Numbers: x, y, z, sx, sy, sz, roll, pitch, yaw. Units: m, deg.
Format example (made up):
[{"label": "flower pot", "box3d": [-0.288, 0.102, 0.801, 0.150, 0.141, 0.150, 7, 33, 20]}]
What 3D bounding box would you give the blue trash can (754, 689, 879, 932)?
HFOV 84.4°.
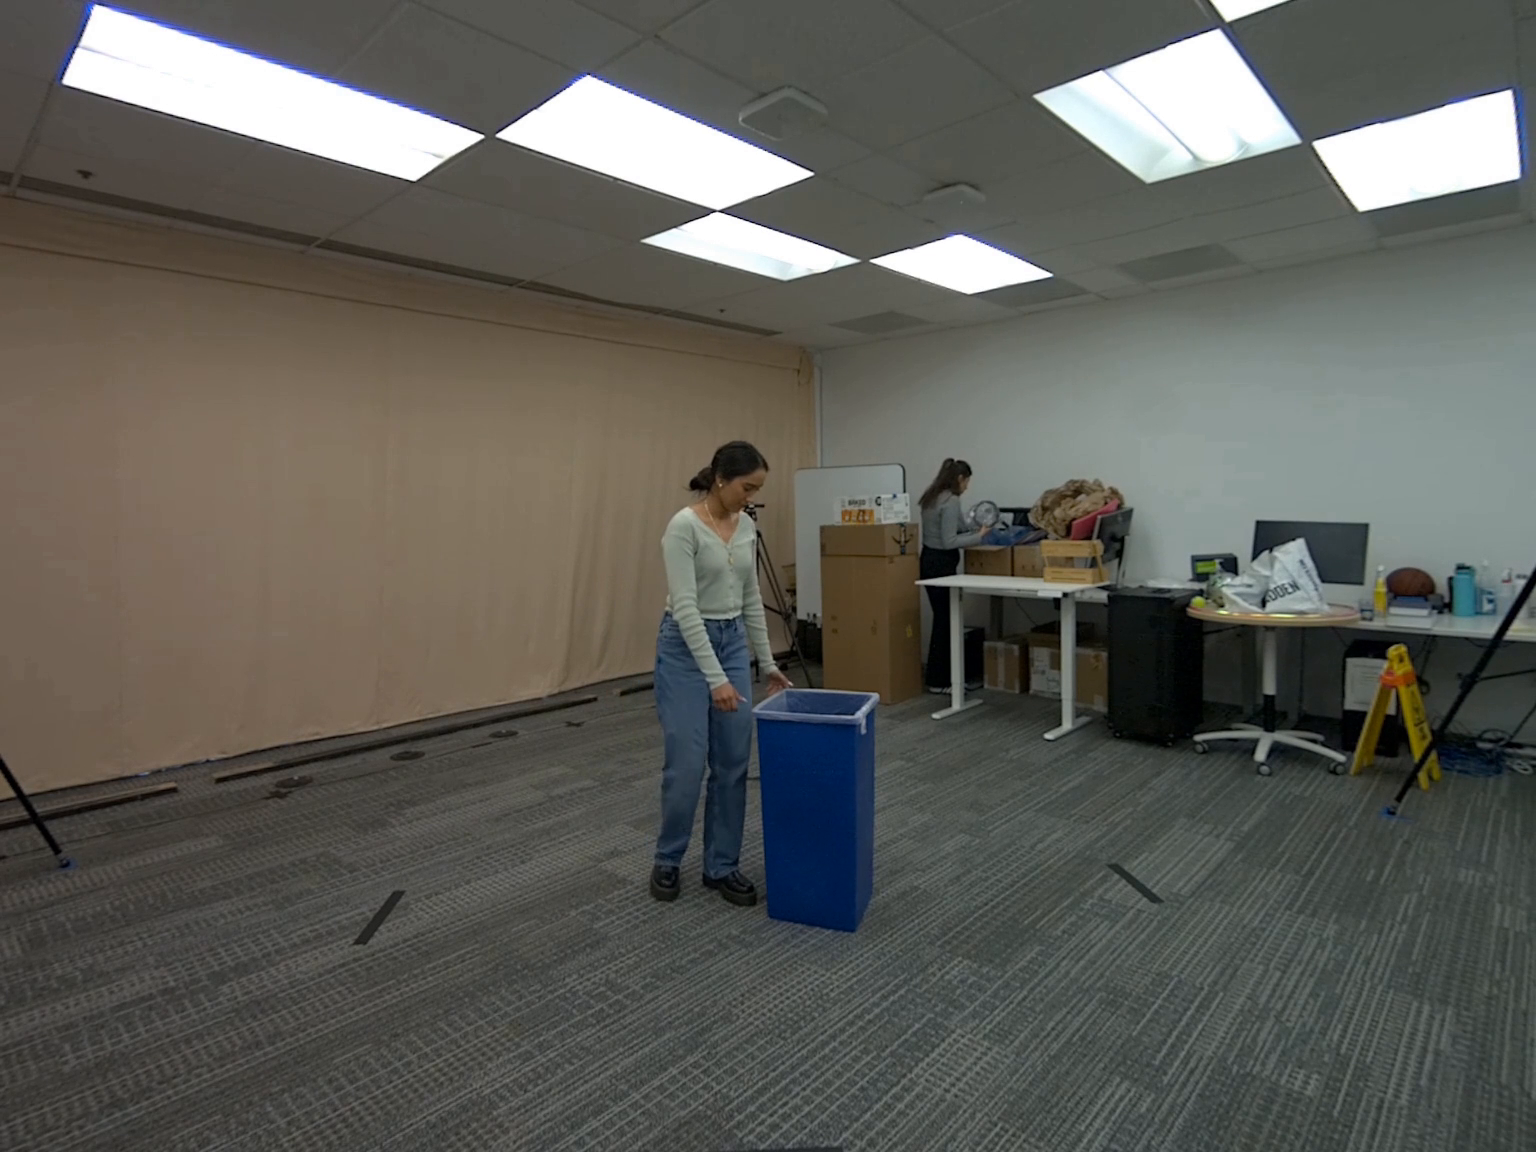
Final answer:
[{"label": "blue trash can", "box3d": [0.176, 0.785, 2.898, 0.382, 0.712, 0.371, 0, 3, 20]}]
